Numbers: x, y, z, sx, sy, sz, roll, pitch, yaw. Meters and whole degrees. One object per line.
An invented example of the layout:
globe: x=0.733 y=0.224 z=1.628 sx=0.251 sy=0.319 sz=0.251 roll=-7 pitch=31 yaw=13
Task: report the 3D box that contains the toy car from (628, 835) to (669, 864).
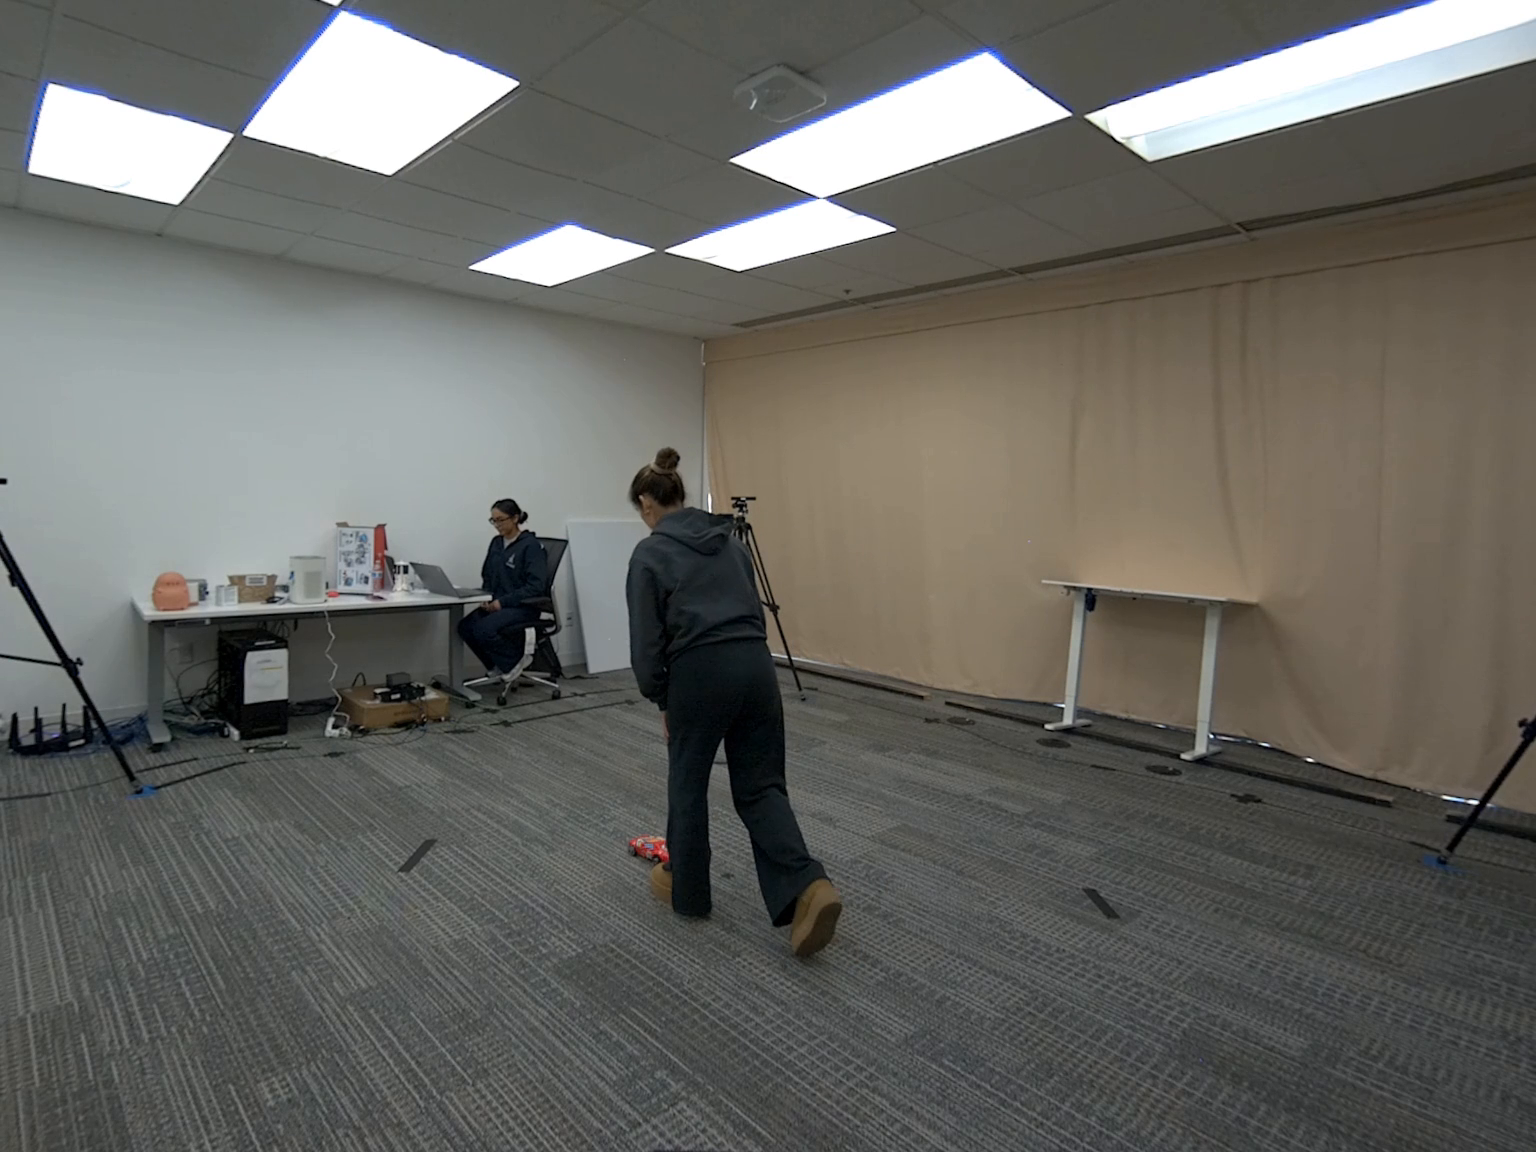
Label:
toy car: x=-0.431 y=1.055 z=3.245 sx=0.259 sy=0.083 sz=0.127 roll=-9 pitch=-3 yaw=42
